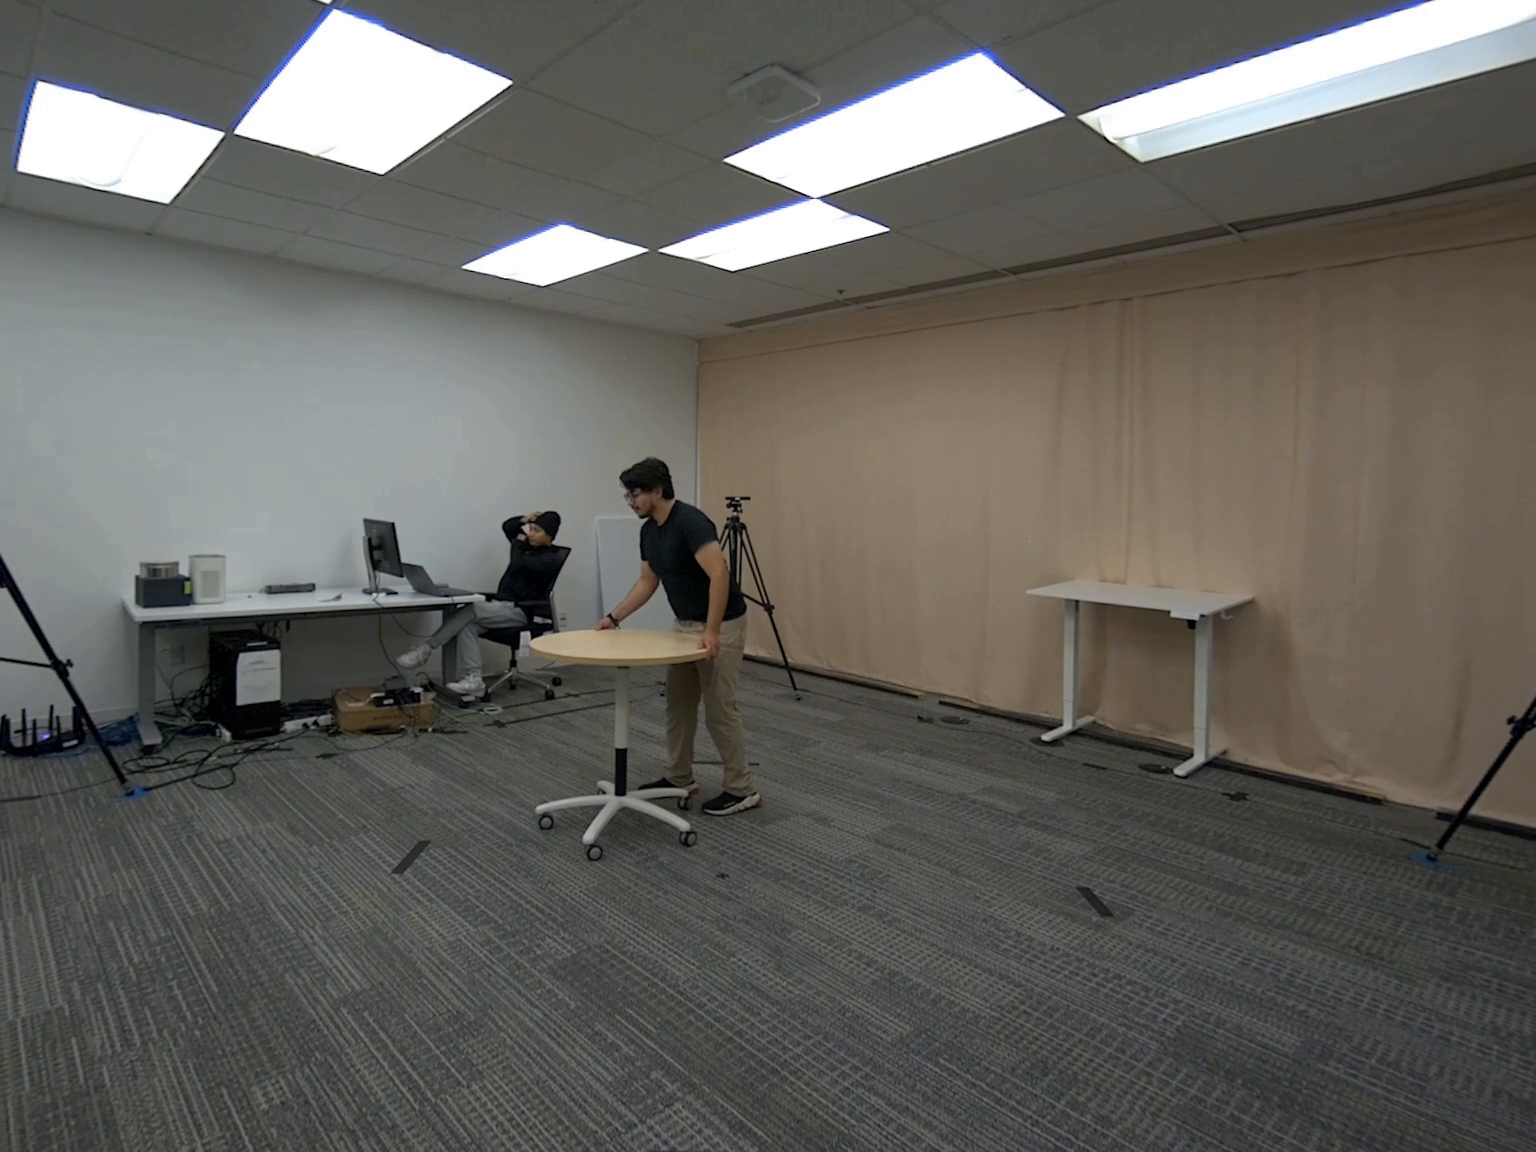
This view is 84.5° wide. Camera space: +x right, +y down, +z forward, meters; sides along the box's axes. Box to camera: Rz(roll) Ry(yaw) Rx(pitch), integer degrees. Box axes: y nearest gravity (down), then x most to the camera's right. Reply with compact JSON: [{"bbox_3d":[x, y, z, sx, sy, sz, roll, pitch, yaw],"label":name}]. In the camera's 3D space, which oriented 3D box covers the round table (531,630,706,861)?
[{"bbox_3d":[-0.621,0.666,3.508,0.784,0.785,0.787,1,3,-1],"label":"round table"}]
